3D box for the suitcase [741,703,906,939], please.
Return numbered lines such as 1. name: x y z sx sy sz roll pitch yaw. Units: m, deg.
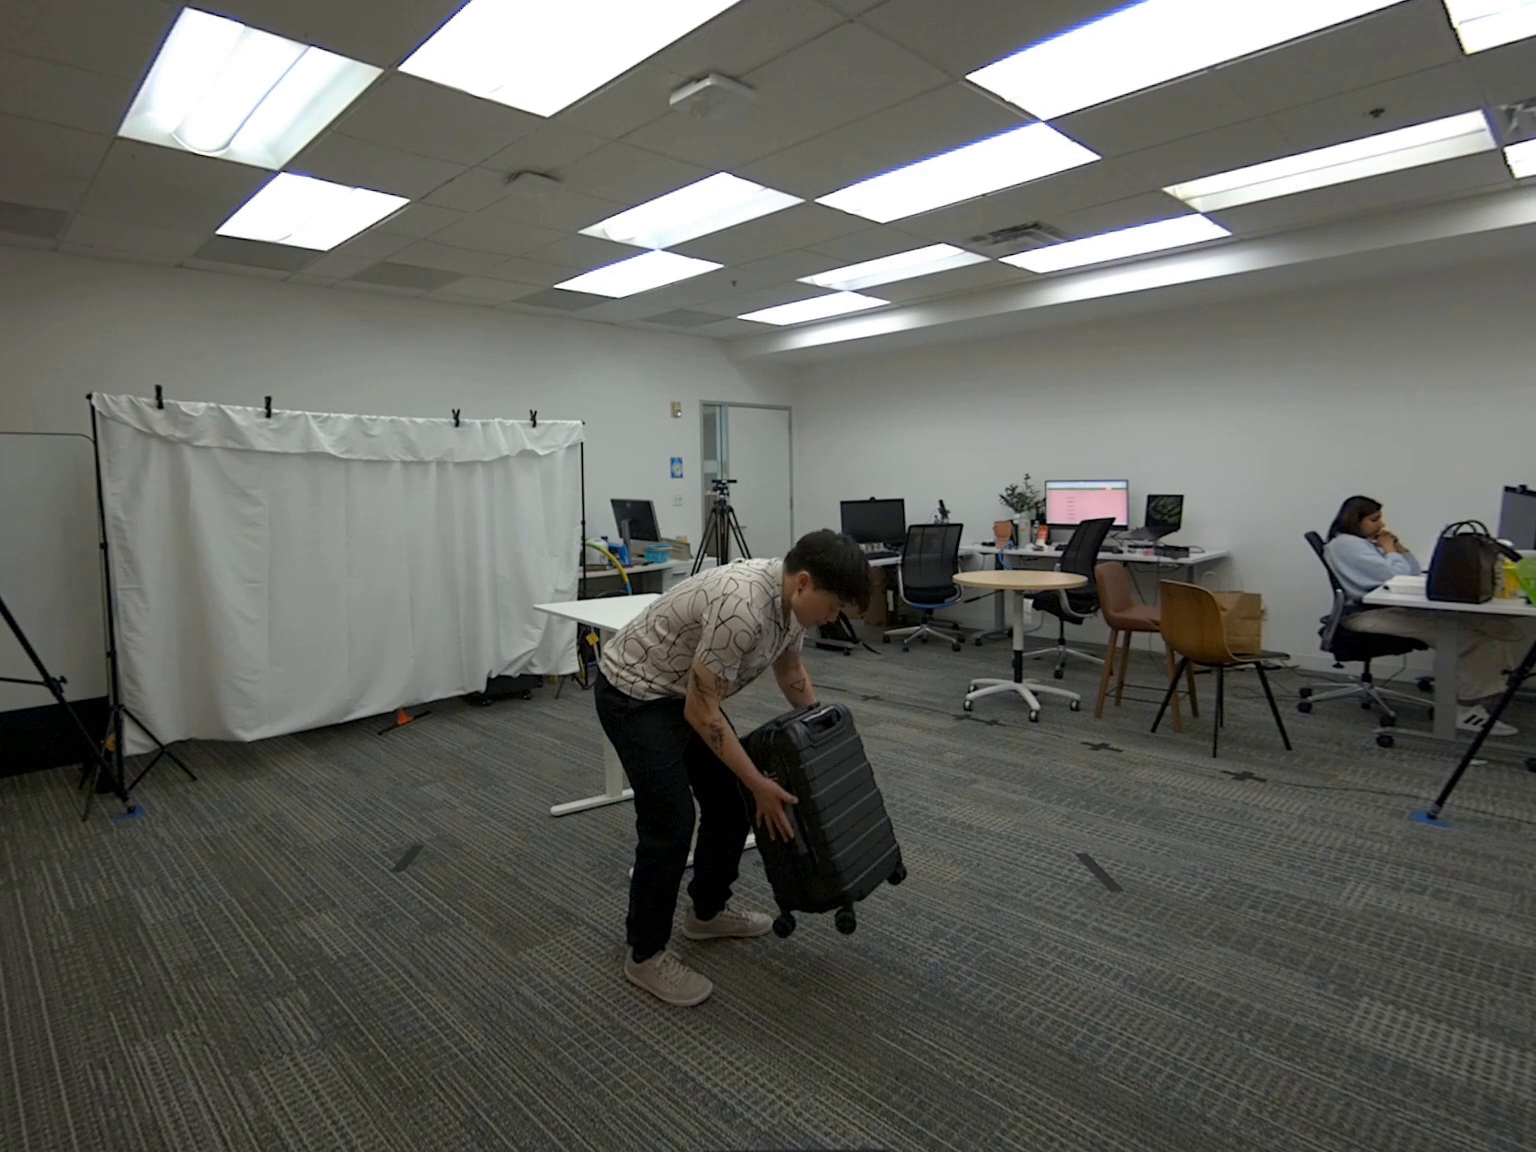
1. suitcase: 0.134 0.647 2.393 0.252 0.553 0.367 -22 -7 36
